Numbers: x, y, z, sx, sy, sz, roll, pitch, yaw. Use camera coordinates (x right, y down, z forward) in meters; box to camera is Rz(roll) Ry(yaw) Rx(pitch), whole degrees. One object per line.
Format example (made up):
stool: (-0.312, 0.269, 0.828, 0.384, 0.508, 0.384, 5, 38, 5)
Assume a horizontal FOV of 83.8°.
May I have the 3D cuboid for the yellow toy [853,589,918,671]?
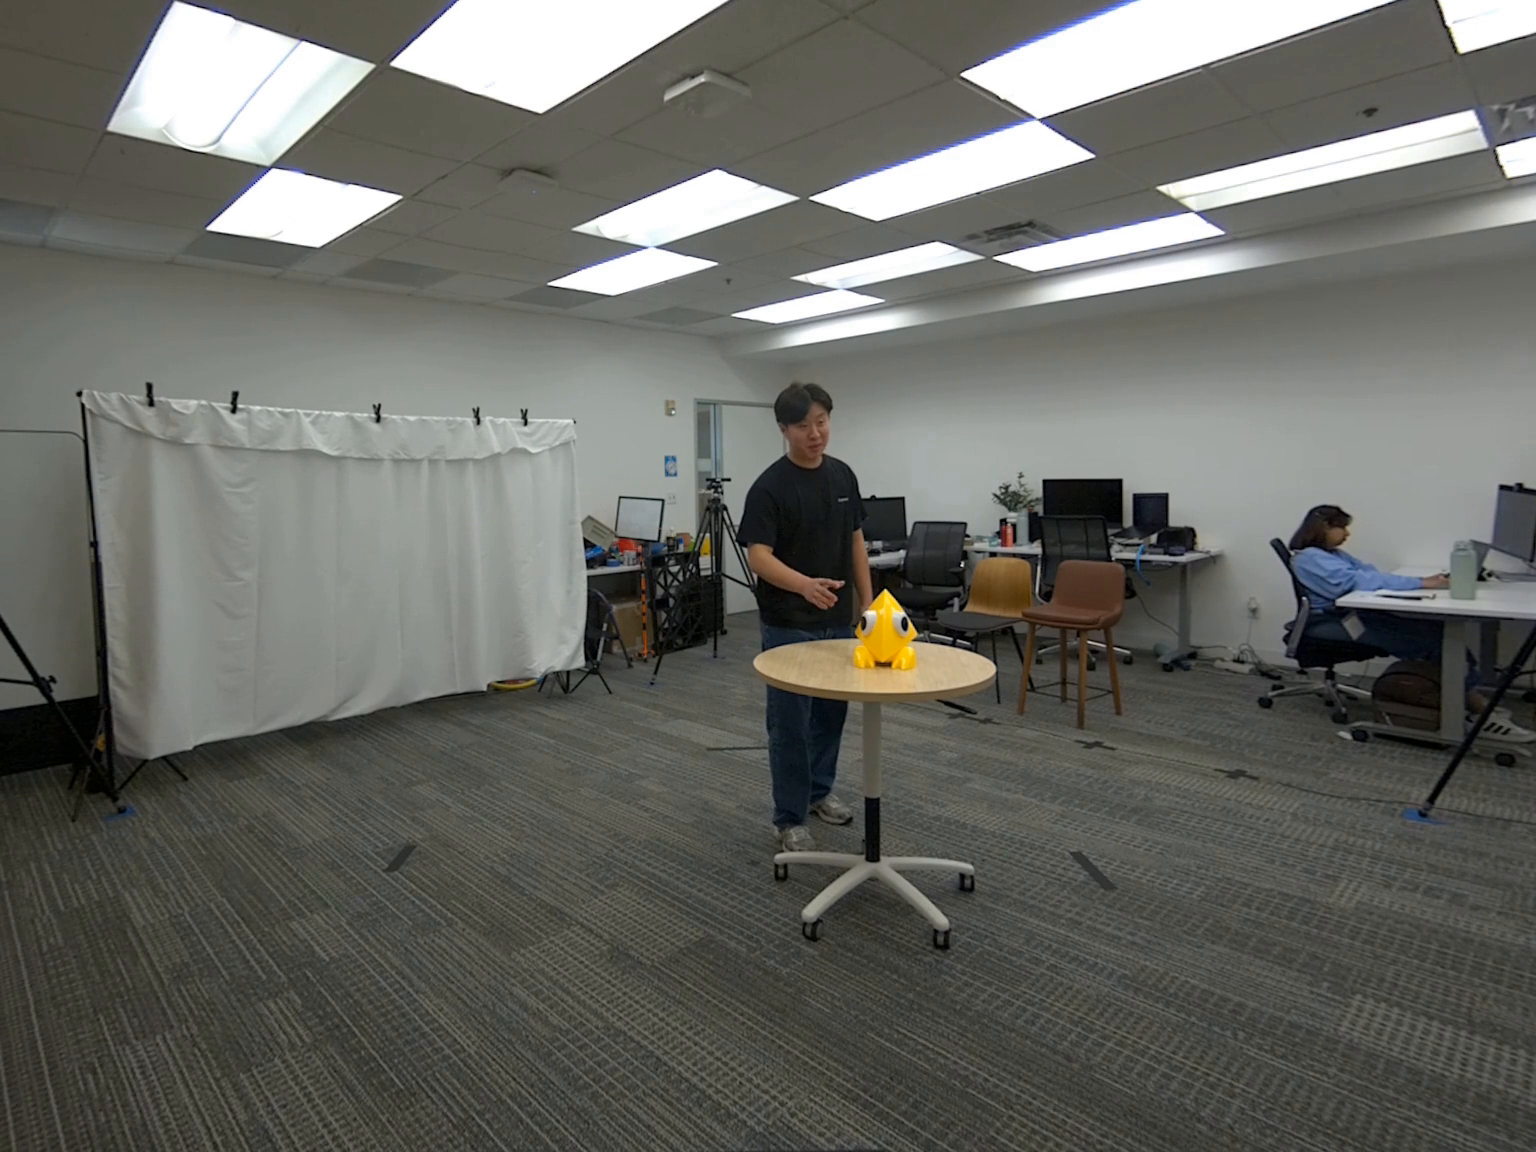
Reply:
yellow toy: (0.371, 0.168, 2.737, 0.207, 0.230, 0.191, 0, 5, 13)
